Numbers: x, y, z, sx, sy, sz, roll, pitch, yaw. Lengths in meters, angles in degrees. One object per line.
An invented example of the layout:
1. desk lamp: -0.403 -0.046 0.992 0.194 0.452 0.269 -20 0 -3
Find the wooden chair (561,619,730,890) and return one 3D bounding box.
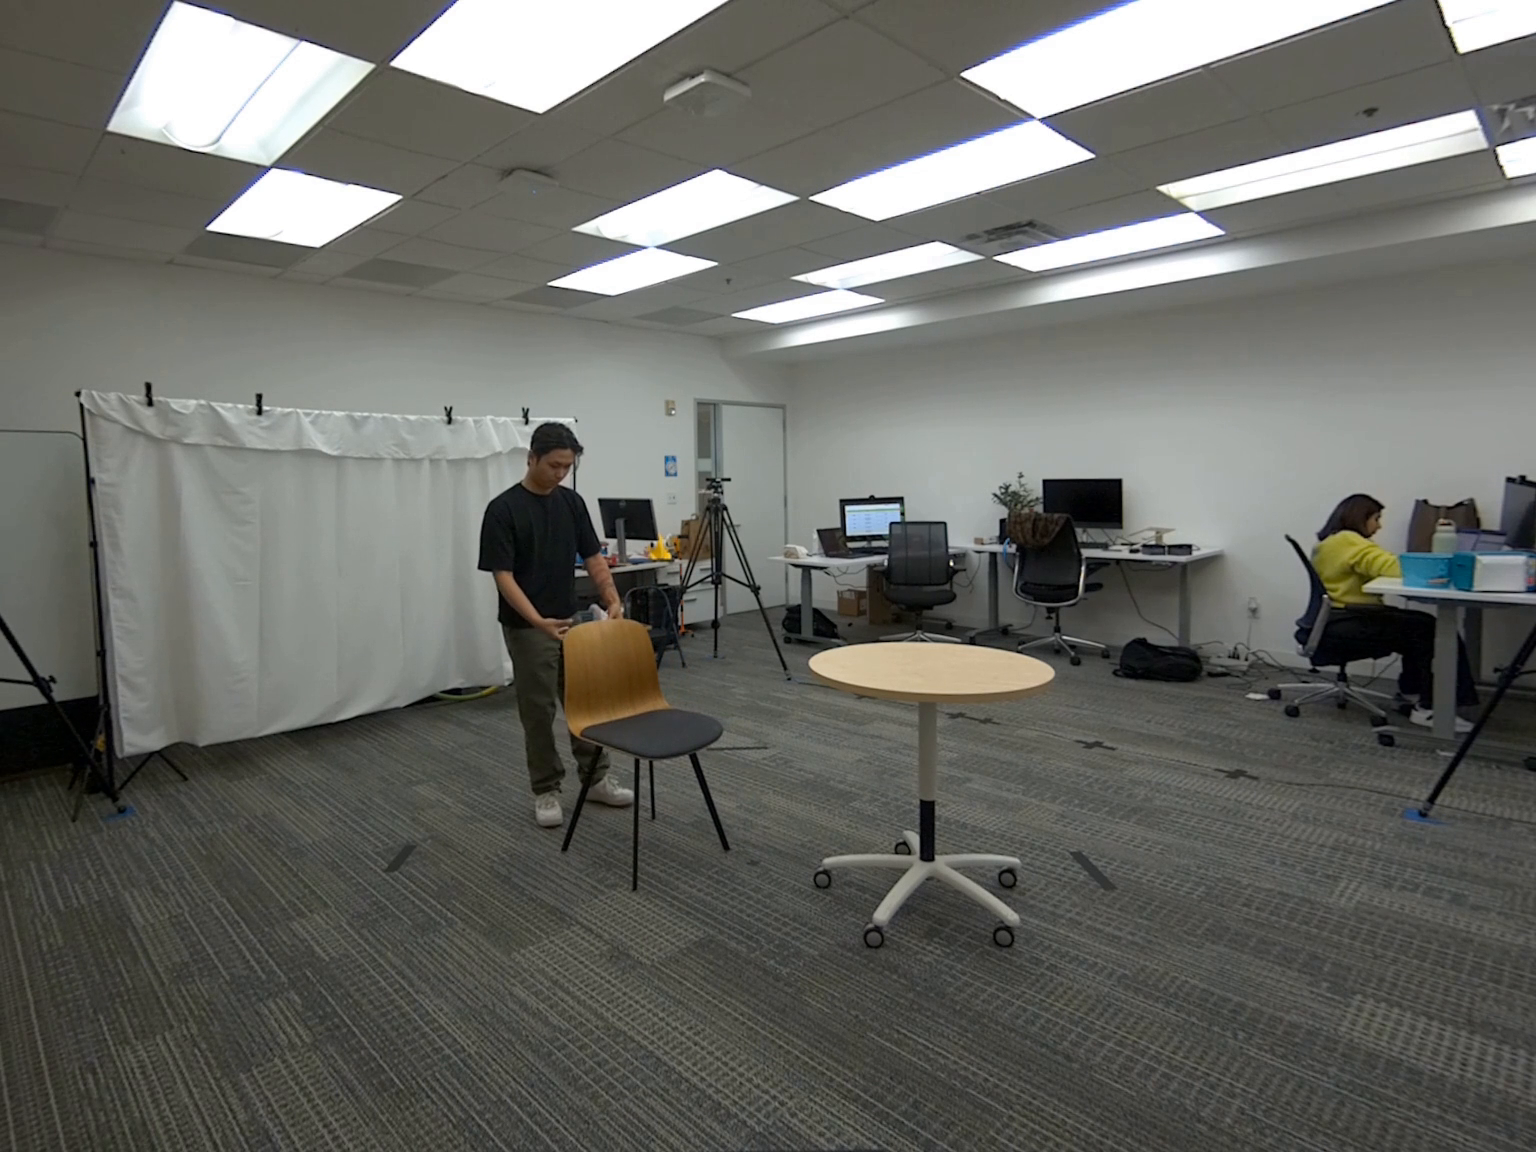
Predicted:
1. wooden chair: -0.459 0.615 3.182 0.465 0.877 0.538 -5 1 -44
